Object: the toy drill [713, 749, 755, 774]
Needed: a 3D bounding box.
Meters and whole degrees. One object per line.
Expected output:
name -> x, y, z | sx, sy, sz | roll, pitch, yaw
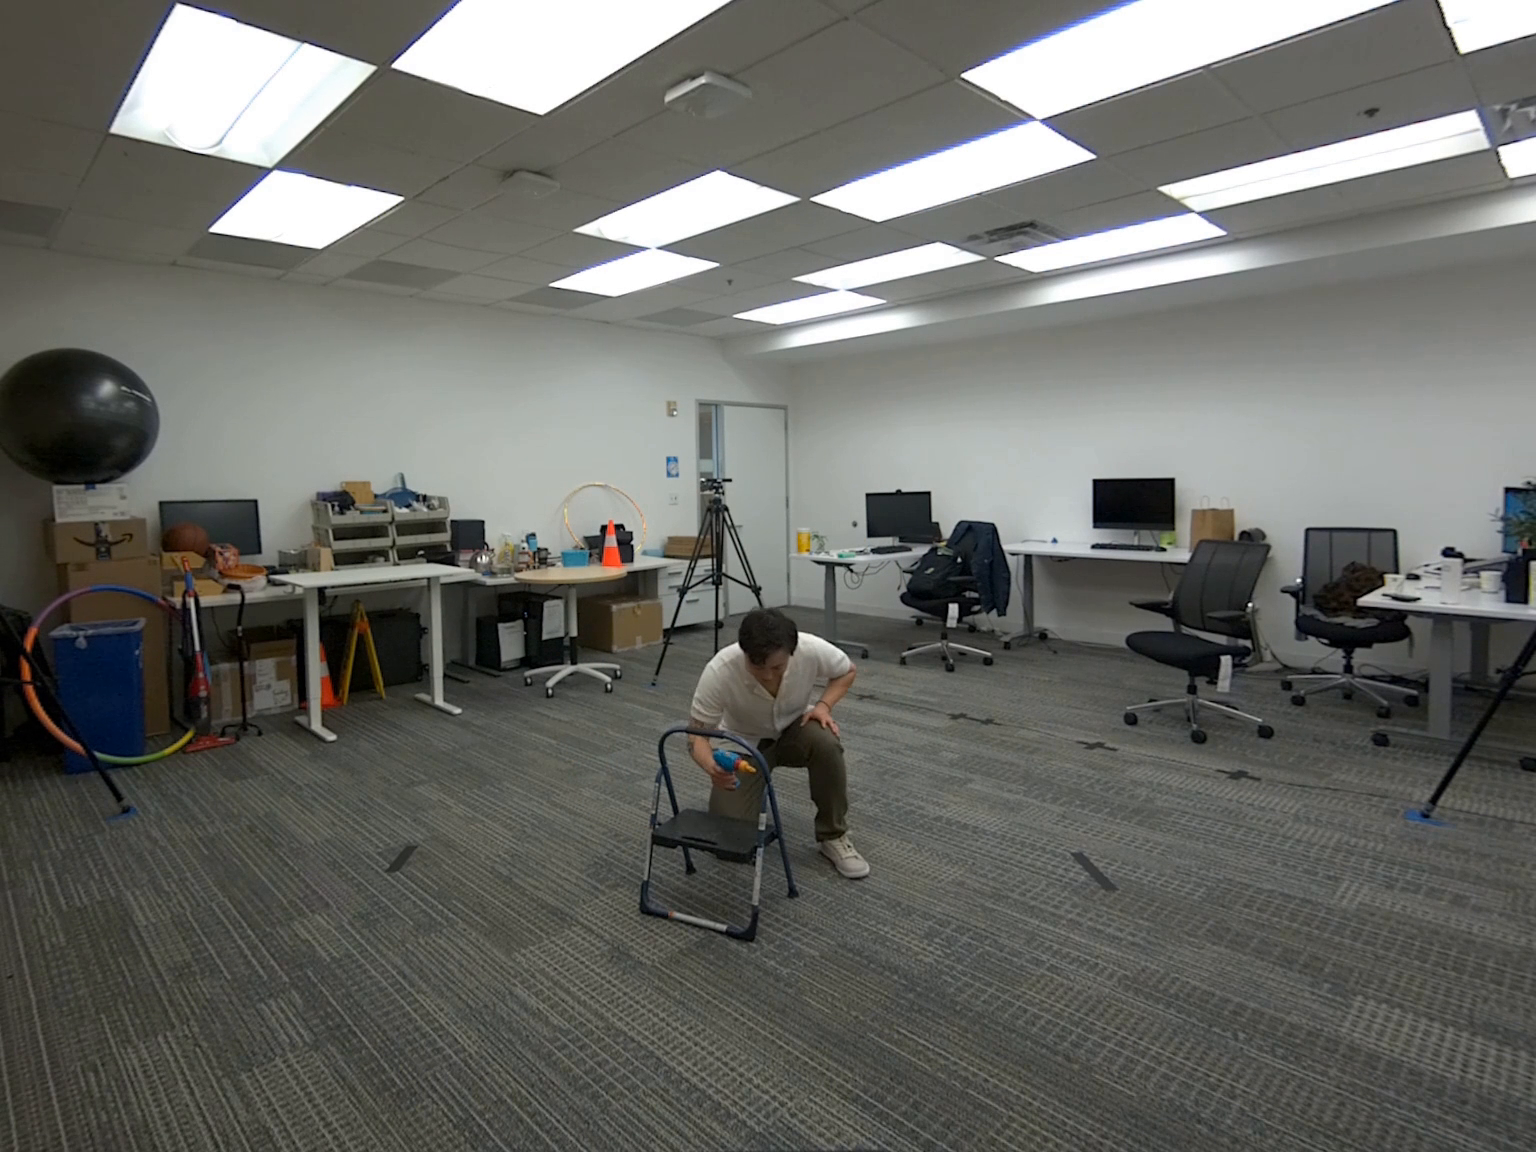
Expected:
toy drill -> -0.118, 0.655, 2.871 | 0.175, 0.141, 0.061 | 18, 53, 33
